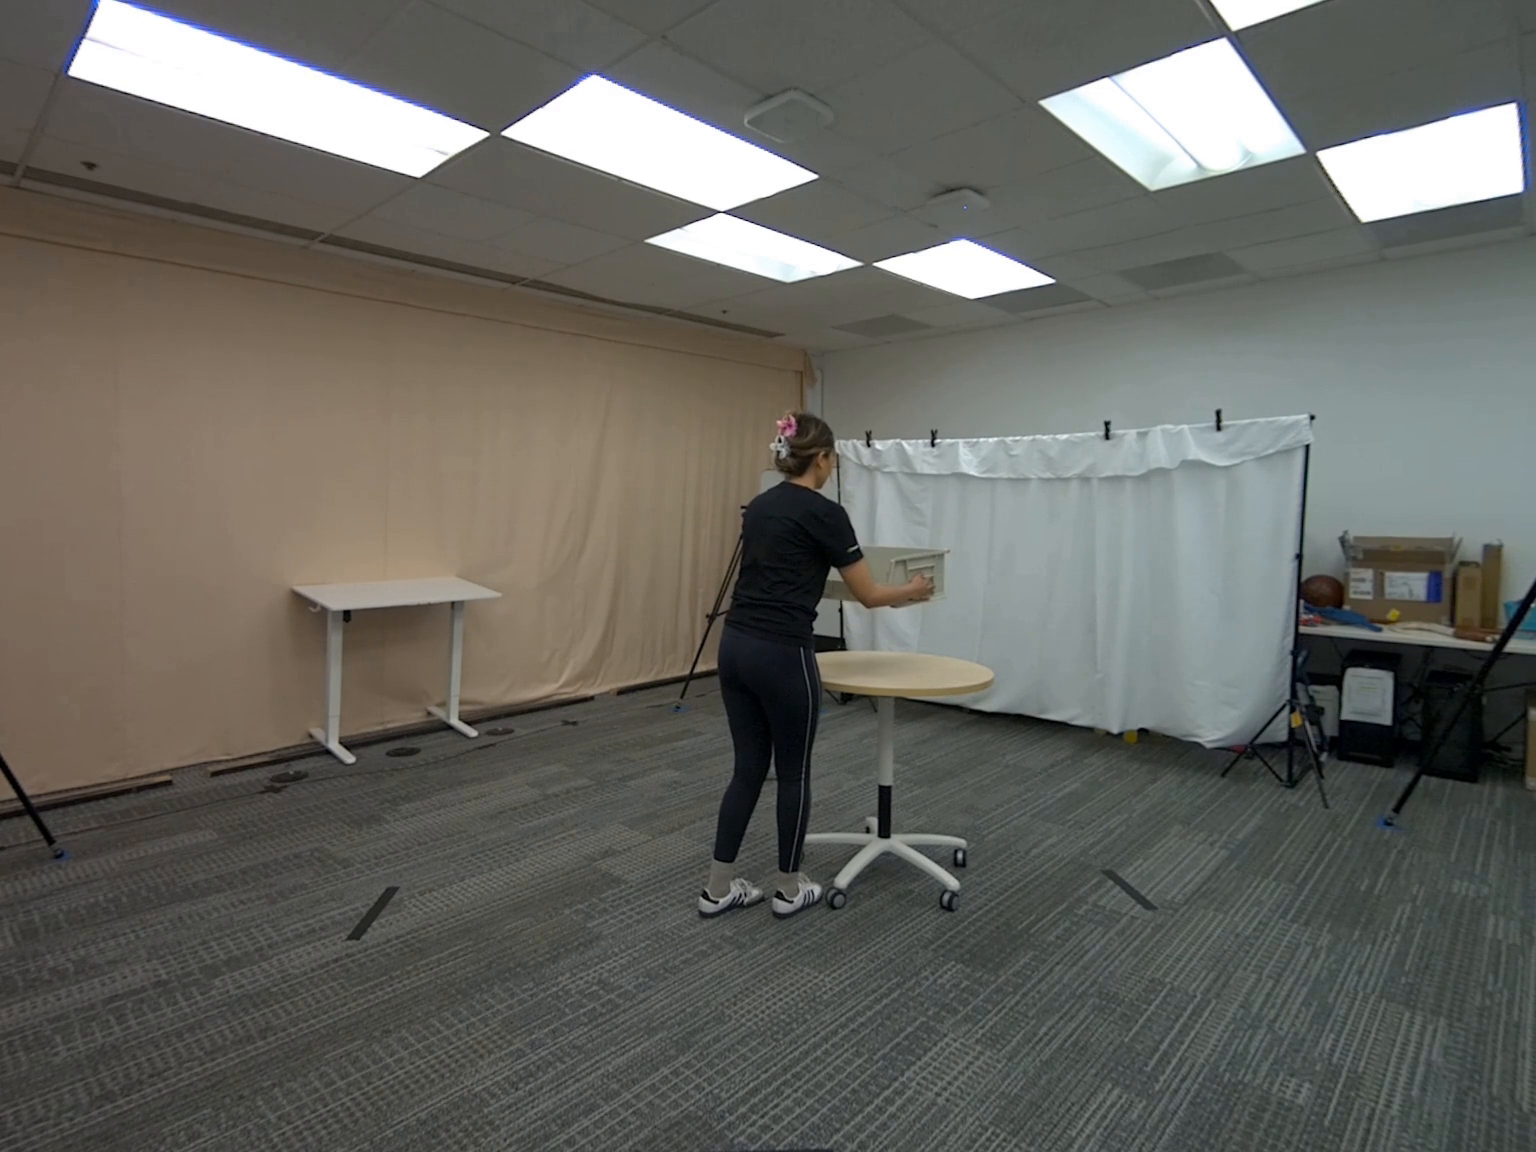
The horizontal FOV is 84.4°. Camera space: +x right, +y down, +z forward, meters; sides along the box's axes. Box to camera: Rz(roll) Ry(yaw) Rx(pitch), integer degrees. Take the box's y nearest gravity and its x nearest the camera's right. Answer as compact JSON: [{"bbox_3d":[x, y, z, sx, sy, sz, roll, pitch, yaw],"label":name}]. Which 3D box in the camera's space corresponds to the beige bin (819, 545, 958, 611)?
[{"bbox_3d":[0.417,-0.004,3.181,0.366,0.188,0.436,-7,7,-43],"label":"beige bin"}]
